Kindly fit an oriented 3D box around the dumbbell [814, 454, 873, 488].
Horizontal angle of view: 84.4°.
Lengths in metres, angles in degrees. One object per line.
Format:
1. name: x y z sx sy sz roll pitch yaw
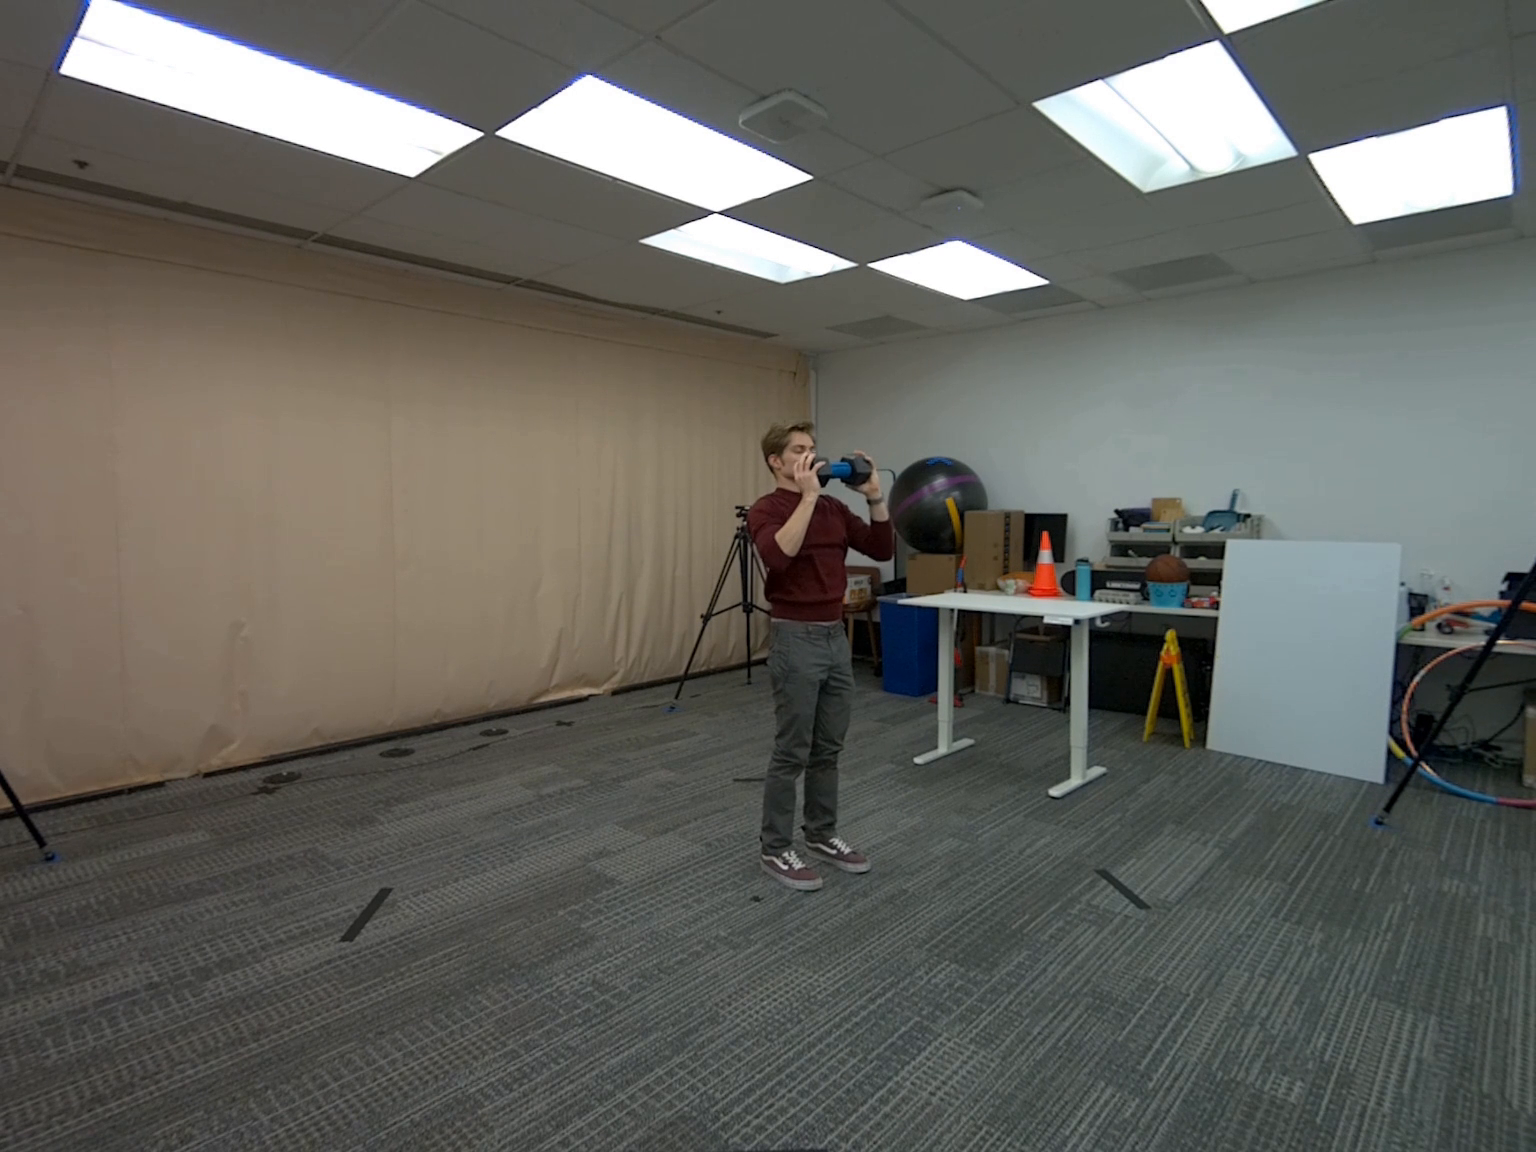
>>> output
1. dumbbell: 0.243 -0.383 3.054 0.285 0.124 0.111 -11 -11 -39
